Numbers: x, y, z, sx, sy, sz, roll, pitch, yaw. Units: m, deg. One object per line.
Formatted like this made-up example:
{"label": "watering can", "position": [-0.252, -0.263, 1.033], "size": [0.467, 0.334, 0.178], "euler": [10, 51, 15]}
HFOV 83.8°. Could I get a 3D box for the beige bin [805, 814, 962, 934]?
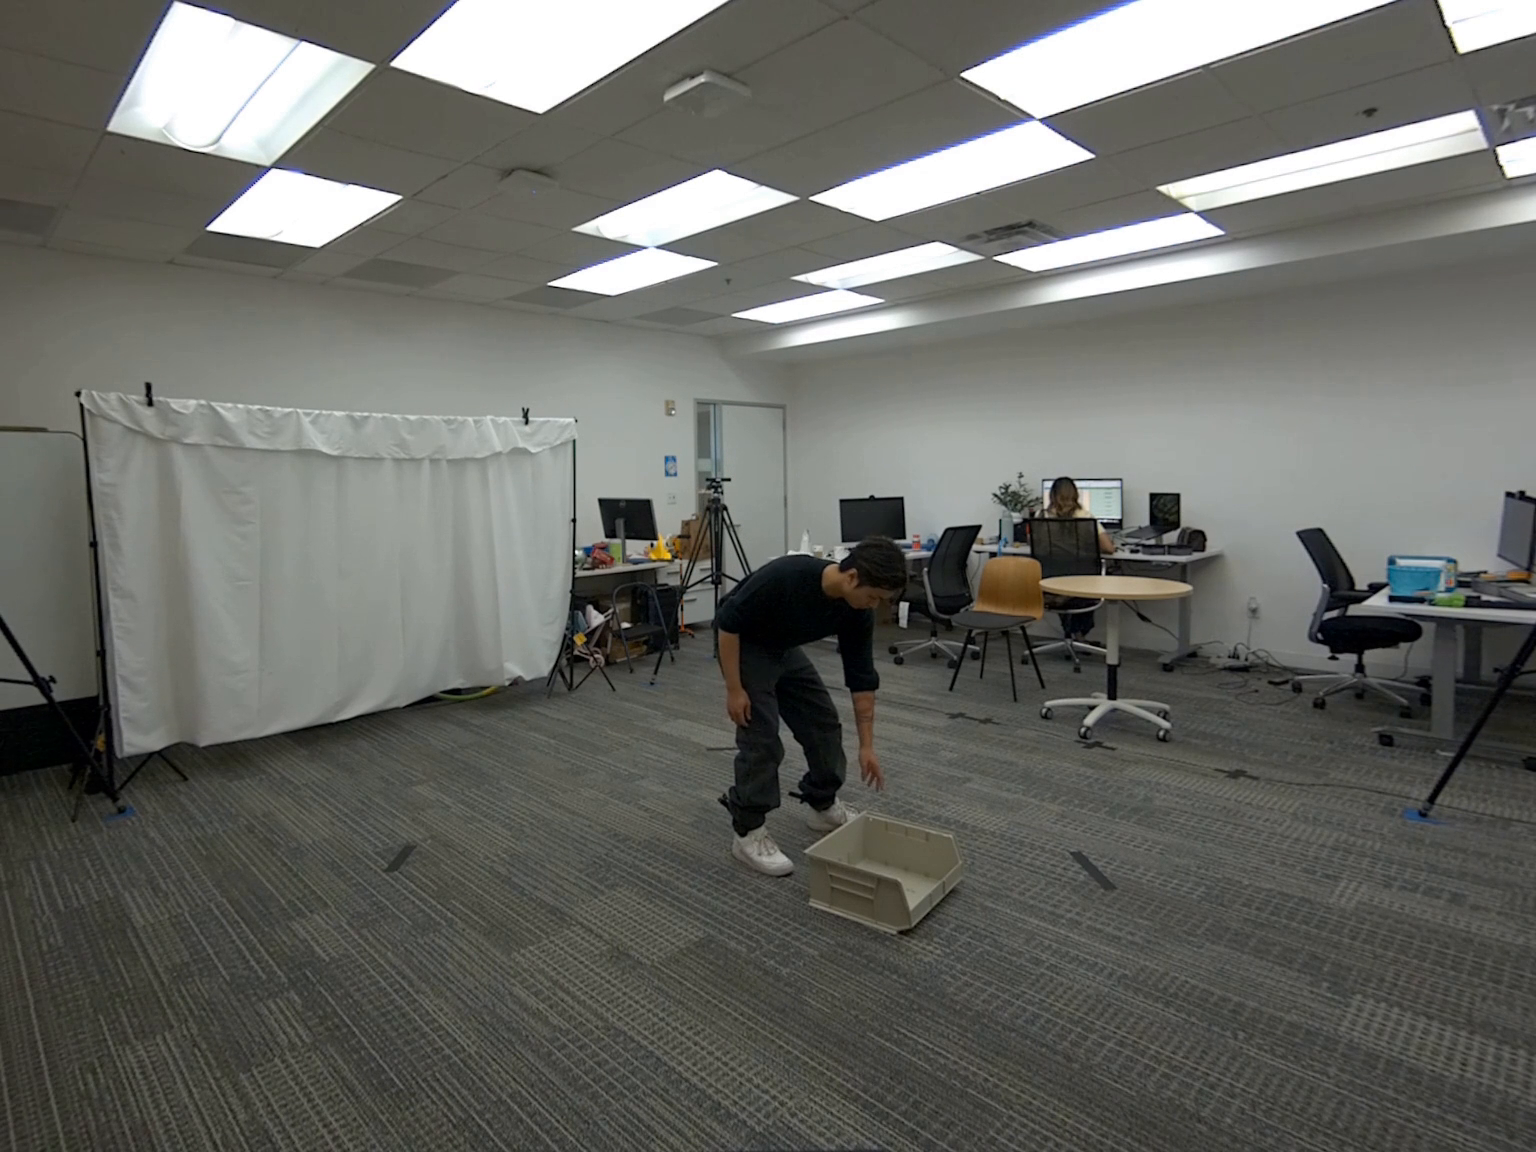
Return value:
{"label": "beige bin", "position": [0.395, 0.980, 2.834], "size": [0.388, 0.188, 0.412], "euler": [2, 6, 36]}
